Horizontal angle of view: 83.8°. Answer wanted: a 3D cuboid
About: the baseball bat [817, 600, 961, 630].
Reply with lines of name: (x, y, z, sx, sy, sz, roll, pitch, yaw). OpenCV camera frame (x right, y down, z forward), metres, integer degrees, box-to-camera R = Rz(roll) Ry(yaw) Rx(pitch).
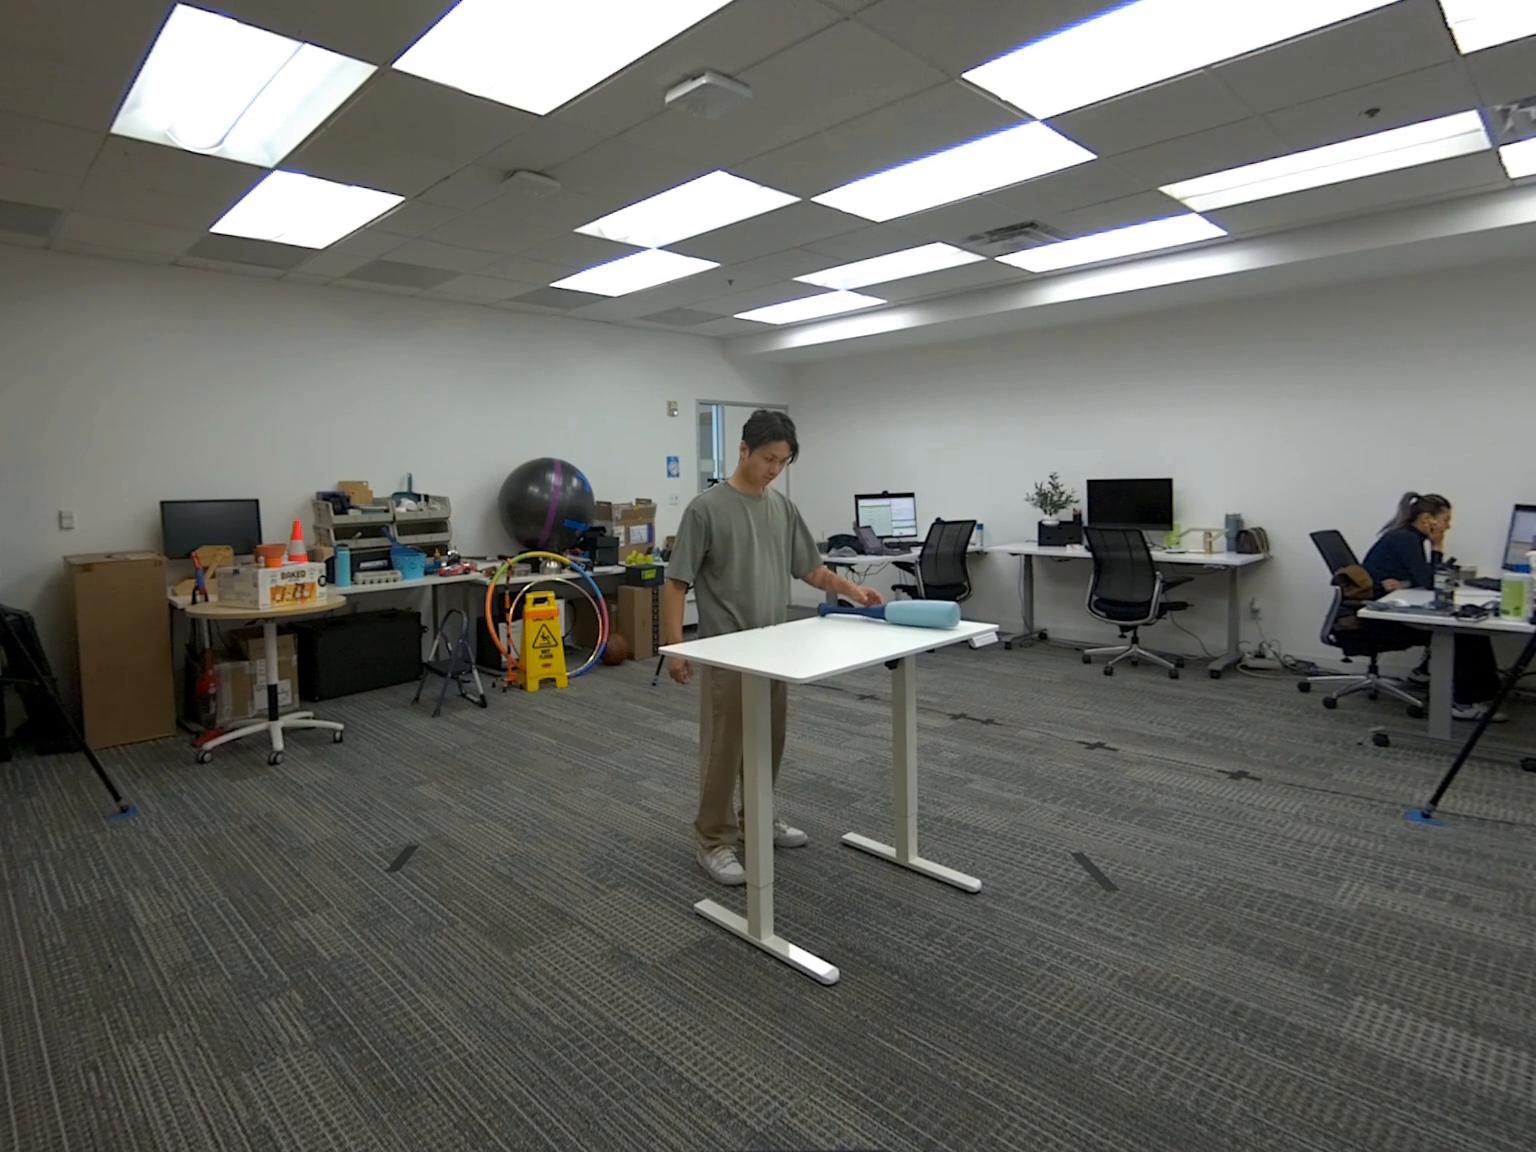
baseball bat: (0.410, 0.132, 2.982, 0.558, 0.089, 0.087, -1, 4, 38)
